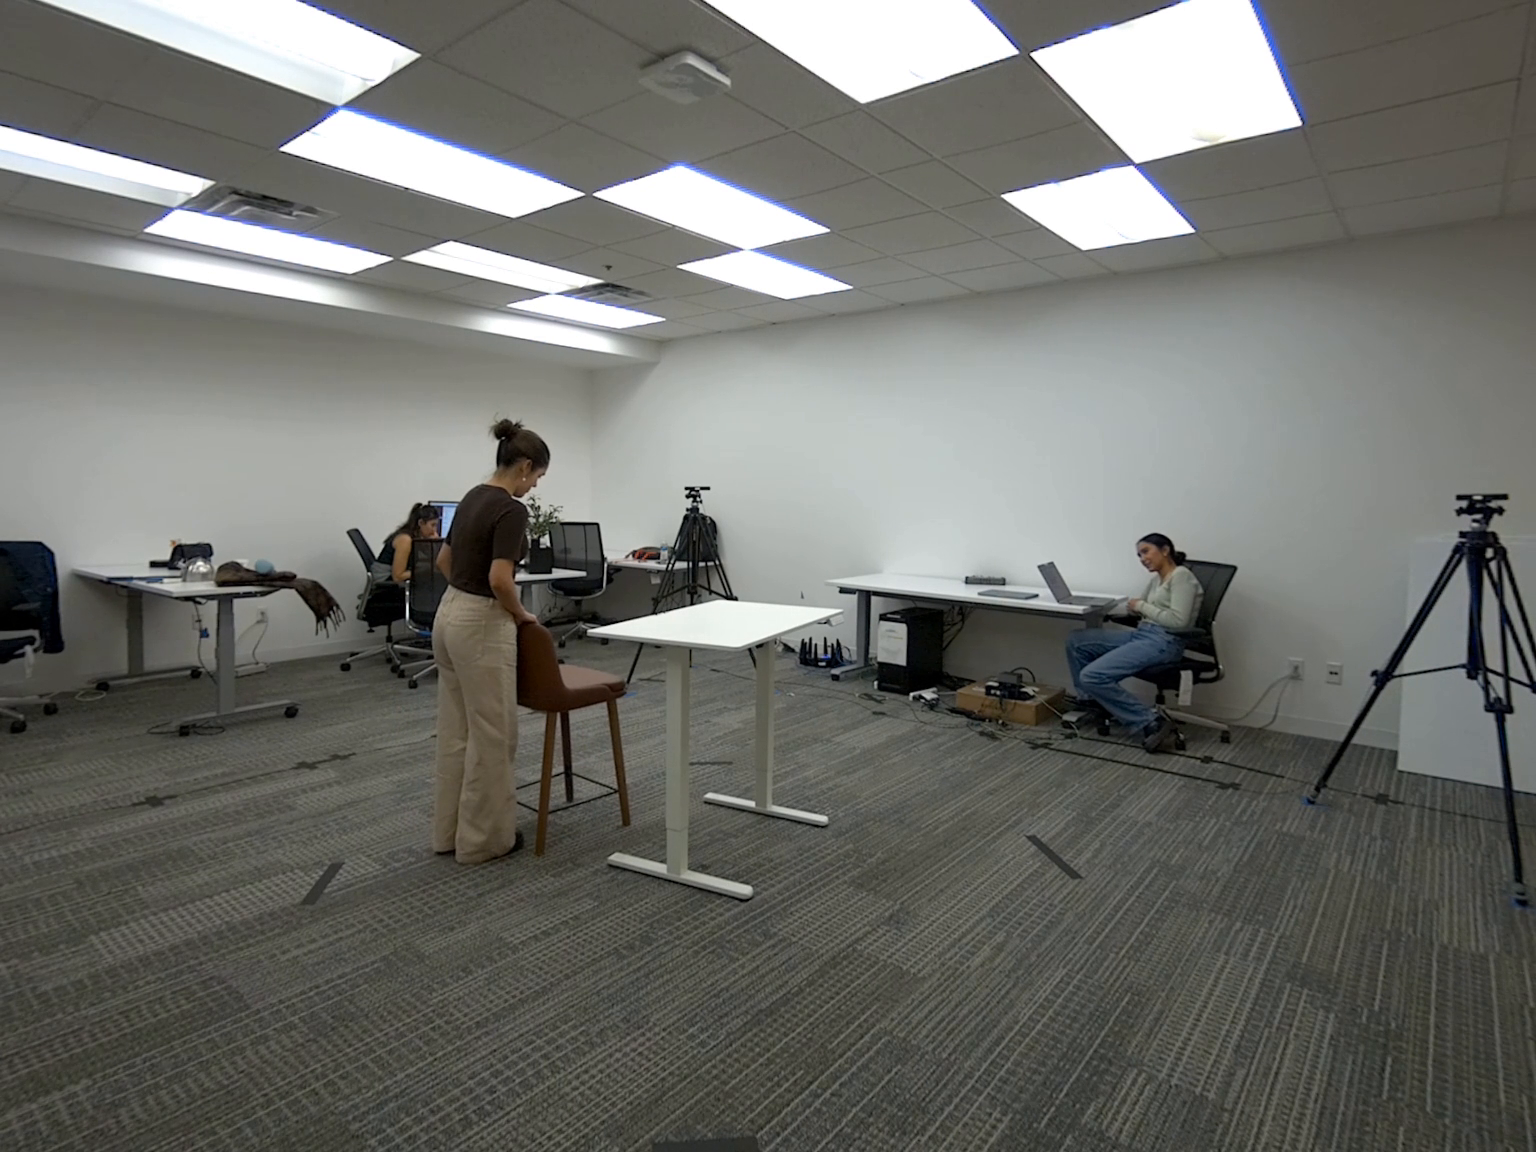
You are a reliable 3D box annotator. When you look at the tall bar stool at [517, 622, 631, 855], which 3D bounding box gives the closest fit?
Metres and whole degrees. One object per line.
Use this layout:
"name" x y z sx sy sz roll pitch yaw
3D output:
"tall bar stool" -0.872 0.583 3.449 0.472 0.887 0.454 3 5 40
